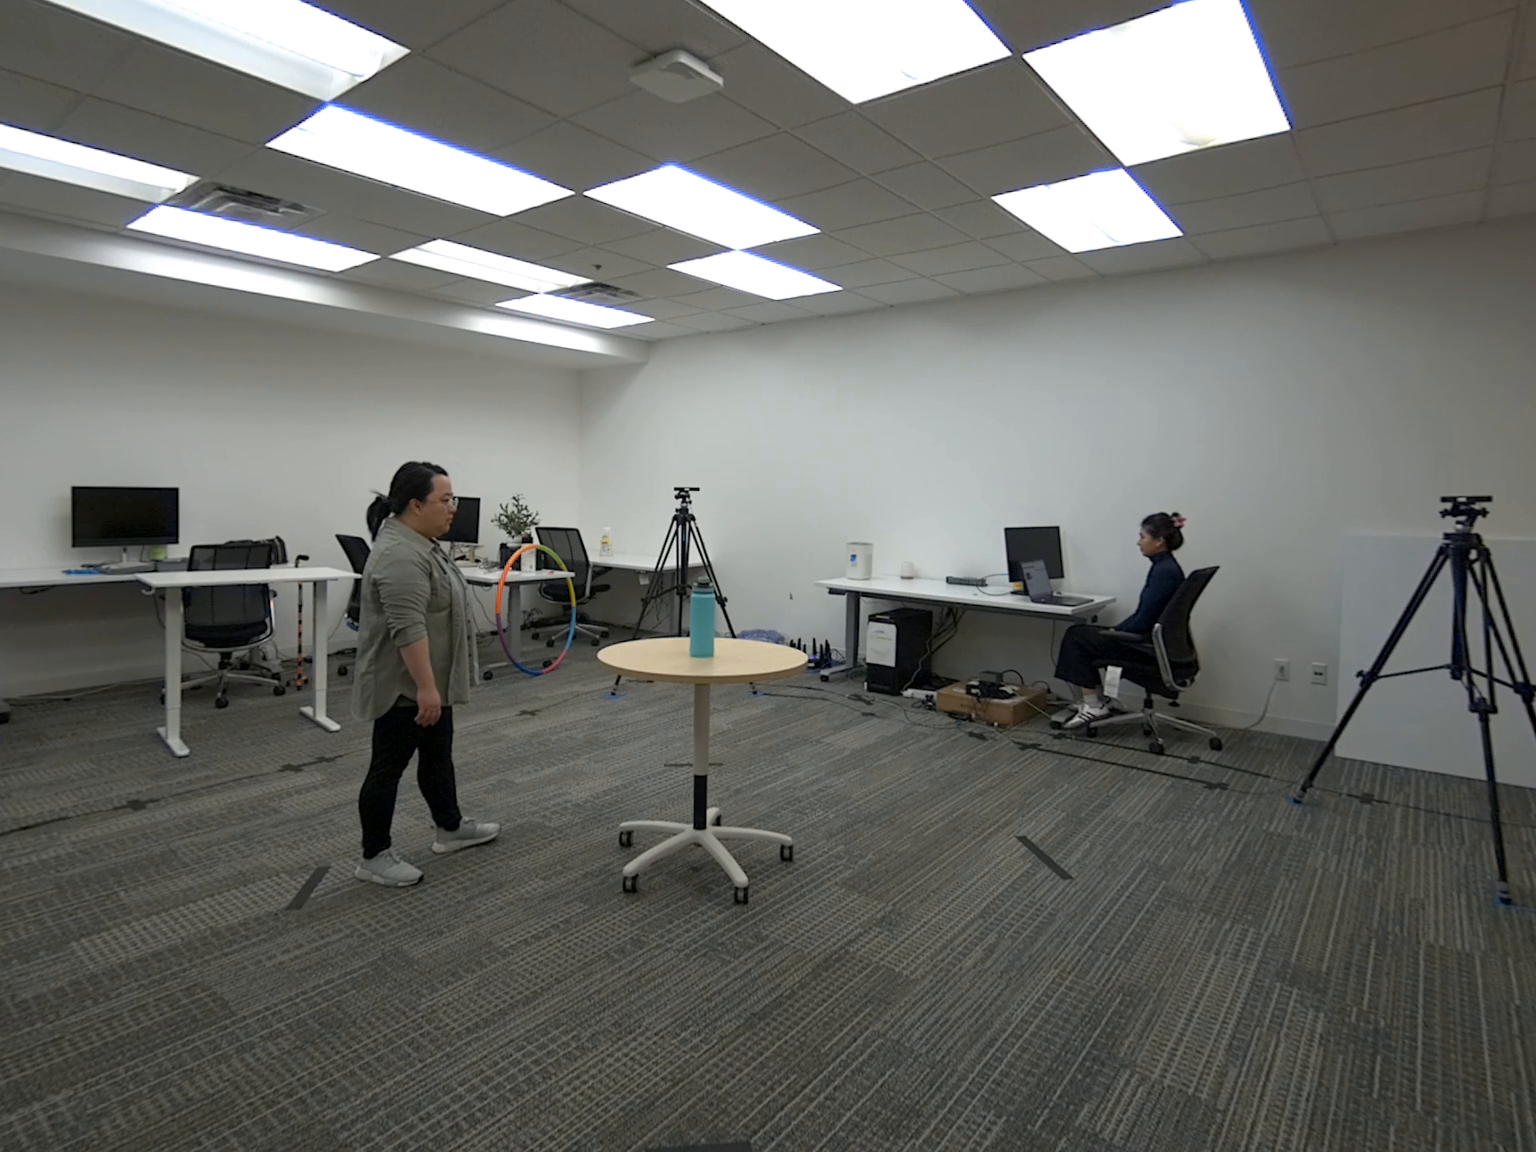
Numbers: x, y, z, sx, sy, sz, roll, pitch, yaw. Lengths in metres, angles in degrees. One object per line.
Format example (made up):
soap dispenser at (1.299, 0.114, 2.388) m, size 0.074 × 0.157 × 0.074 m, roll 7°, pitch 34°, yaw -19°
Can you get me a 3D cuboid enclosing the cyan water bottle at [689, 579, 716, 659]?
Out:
cyan water bottle at (-0.250, 0.150, 3.070) m, size 0.092 × 0.283 × 0.092 m, roll 1°, pitch 1°, yaw -2°
